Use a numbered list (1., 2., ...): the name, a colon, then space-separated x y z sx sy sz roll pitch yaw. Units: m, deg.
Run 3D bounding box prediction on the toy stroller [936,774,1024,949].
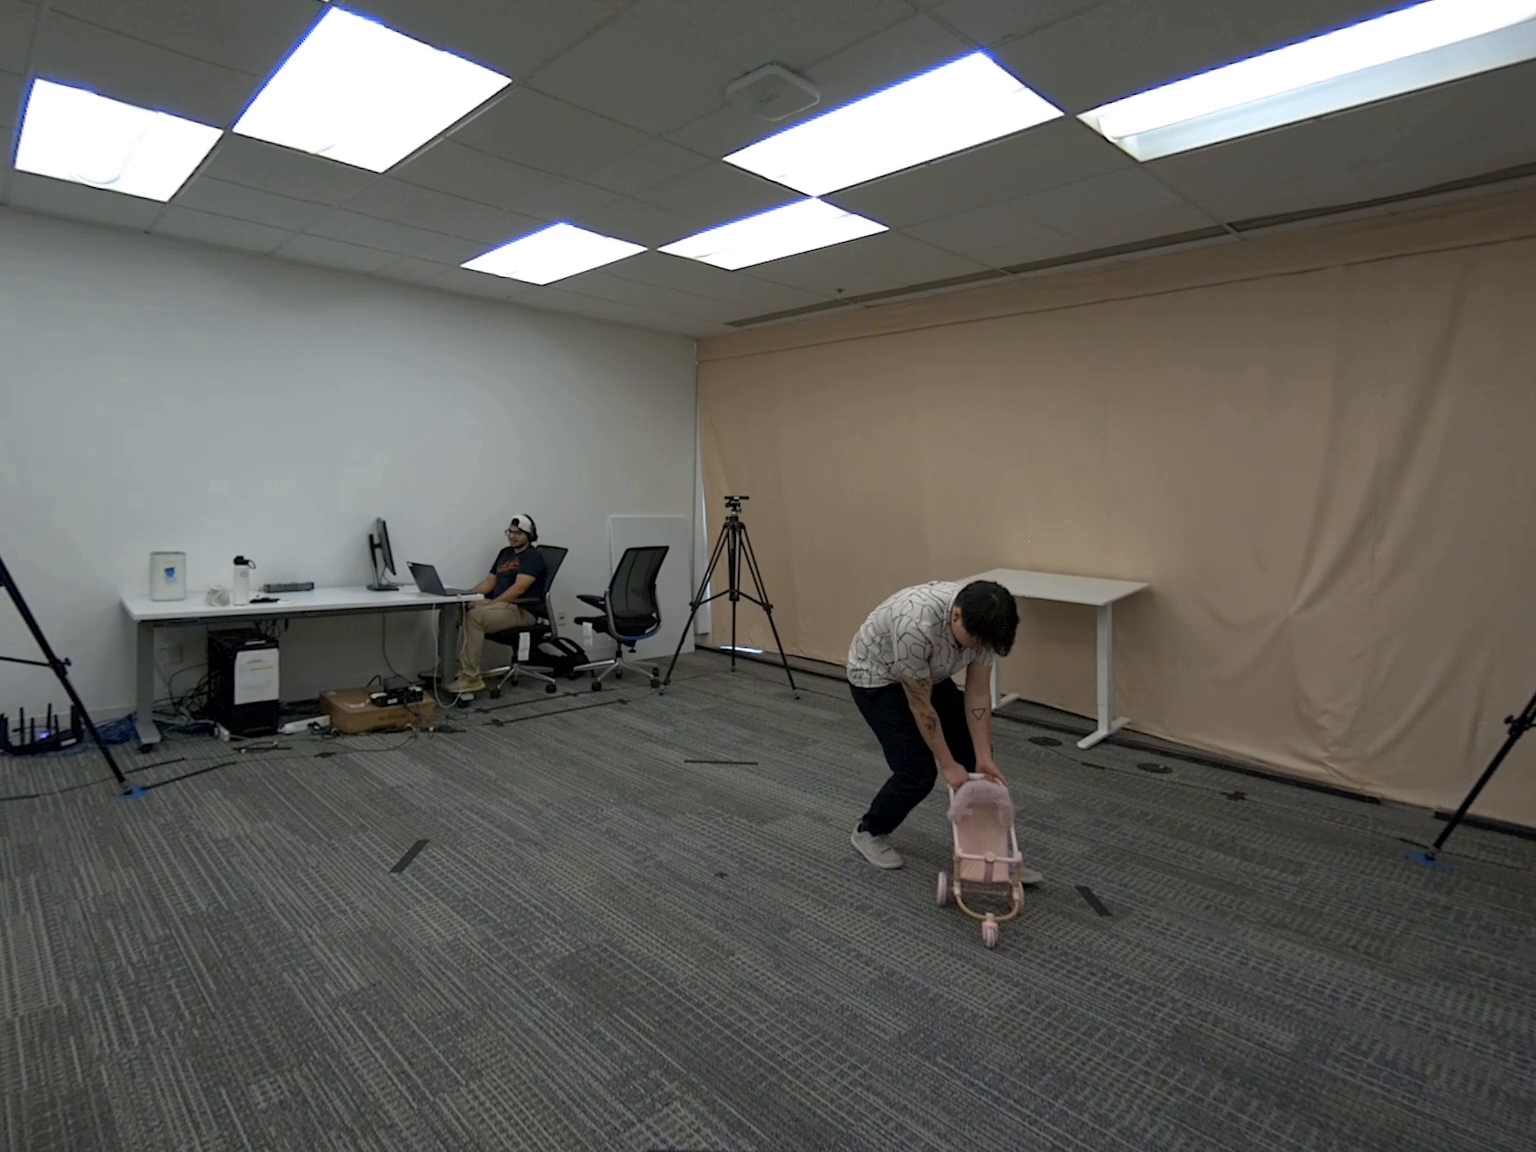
1. toy stroller: 0.714 0.934 2.831 0.284 0.539 0.335 2 -13 12
